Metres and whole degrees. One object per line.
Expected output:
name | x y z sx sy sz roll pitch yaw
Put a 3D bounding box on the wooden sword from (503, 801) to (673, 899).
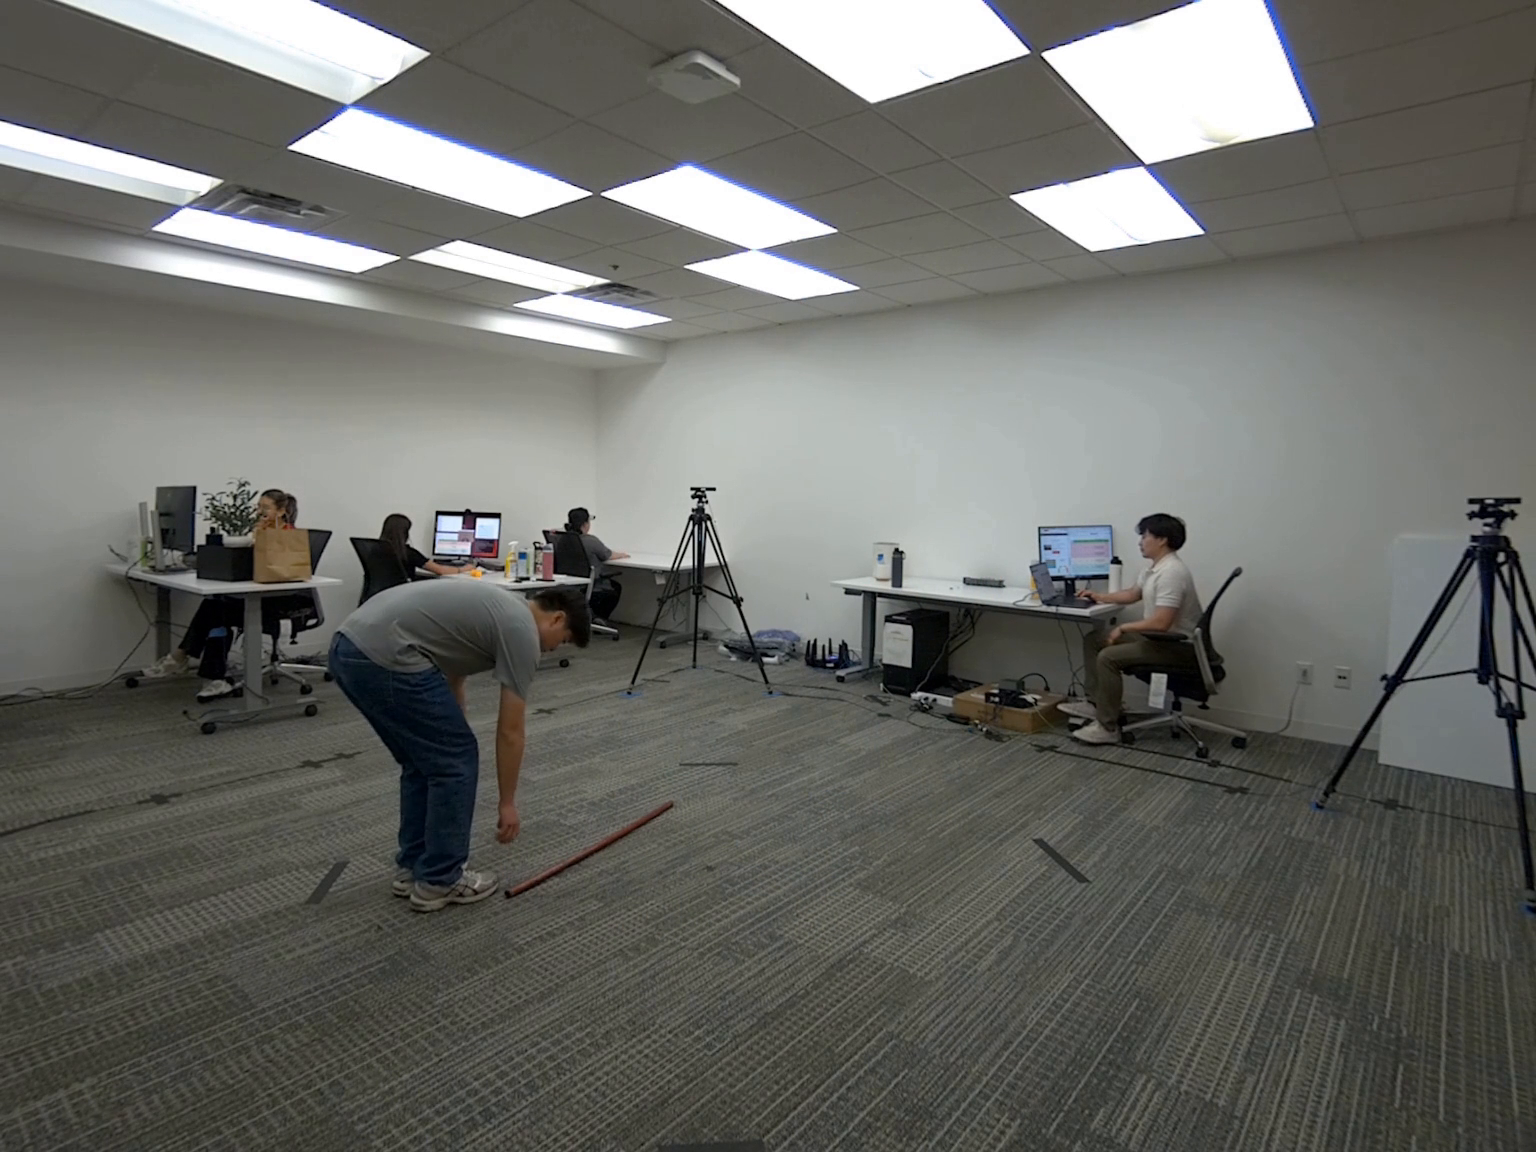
wooden sword | -0.644 1.017 3.295 0.053 0.024 1.000 25 15 23
